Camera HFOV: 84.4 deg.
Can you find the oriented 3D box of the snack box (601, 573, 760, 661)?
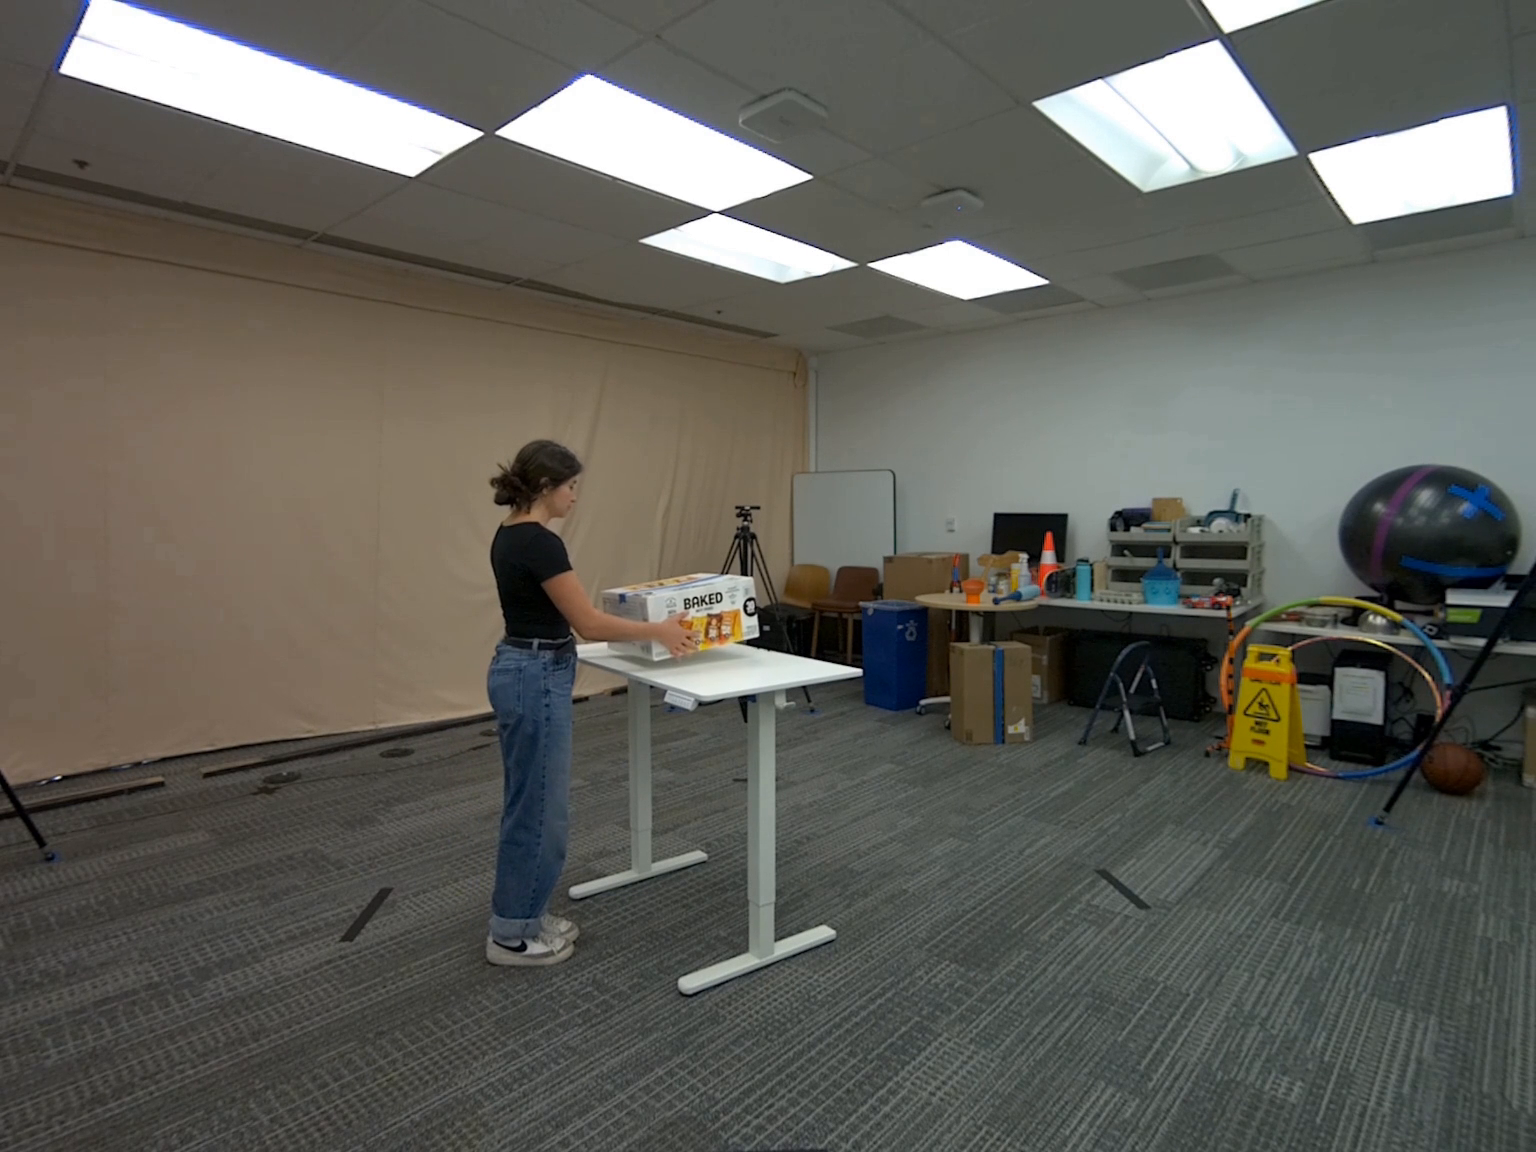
[{"bbox_3d":[-0.295,0.125,2.825,0.395,0.205,0.351,-11,8,-34],"label":"snack box"}]
